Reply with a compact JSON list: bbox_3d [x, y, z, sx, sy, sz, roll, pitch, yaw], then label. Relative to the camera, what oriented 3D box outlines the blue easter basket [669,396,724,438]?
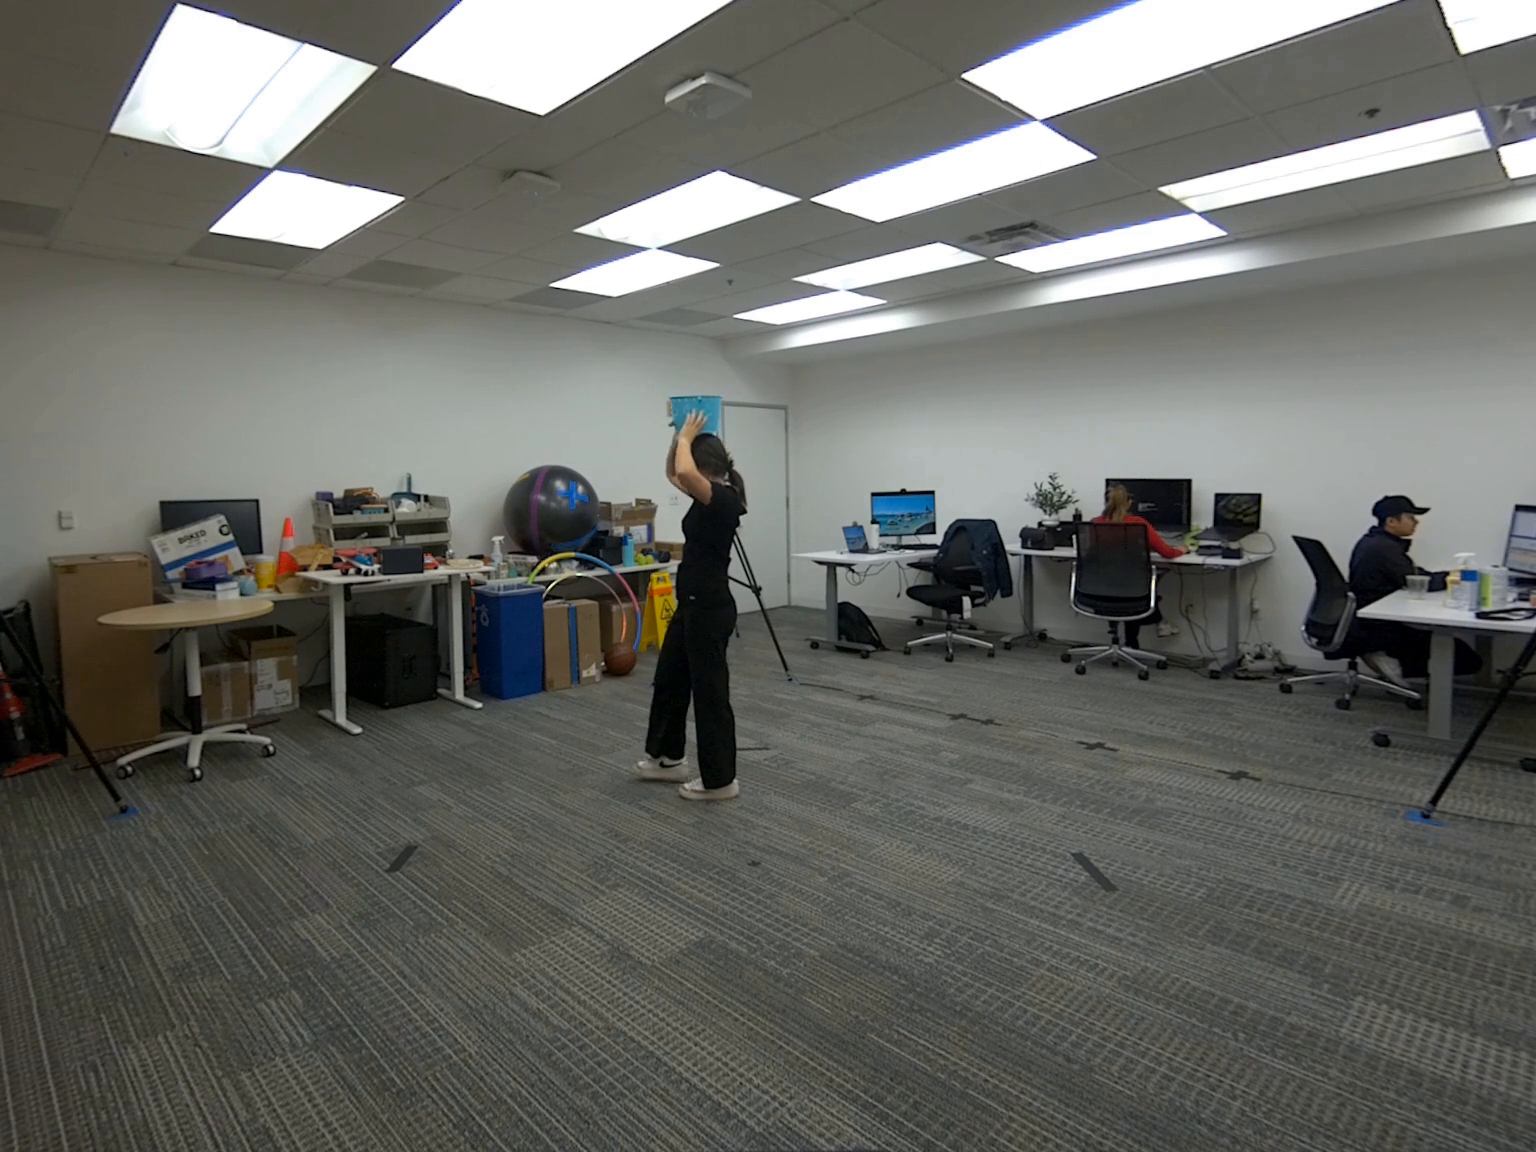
[{"bbox_3d":[-0.319,-0.687,3.640,0.243,0.155,0.245,-1,9,-1],"label":"blue easter basket"}]
